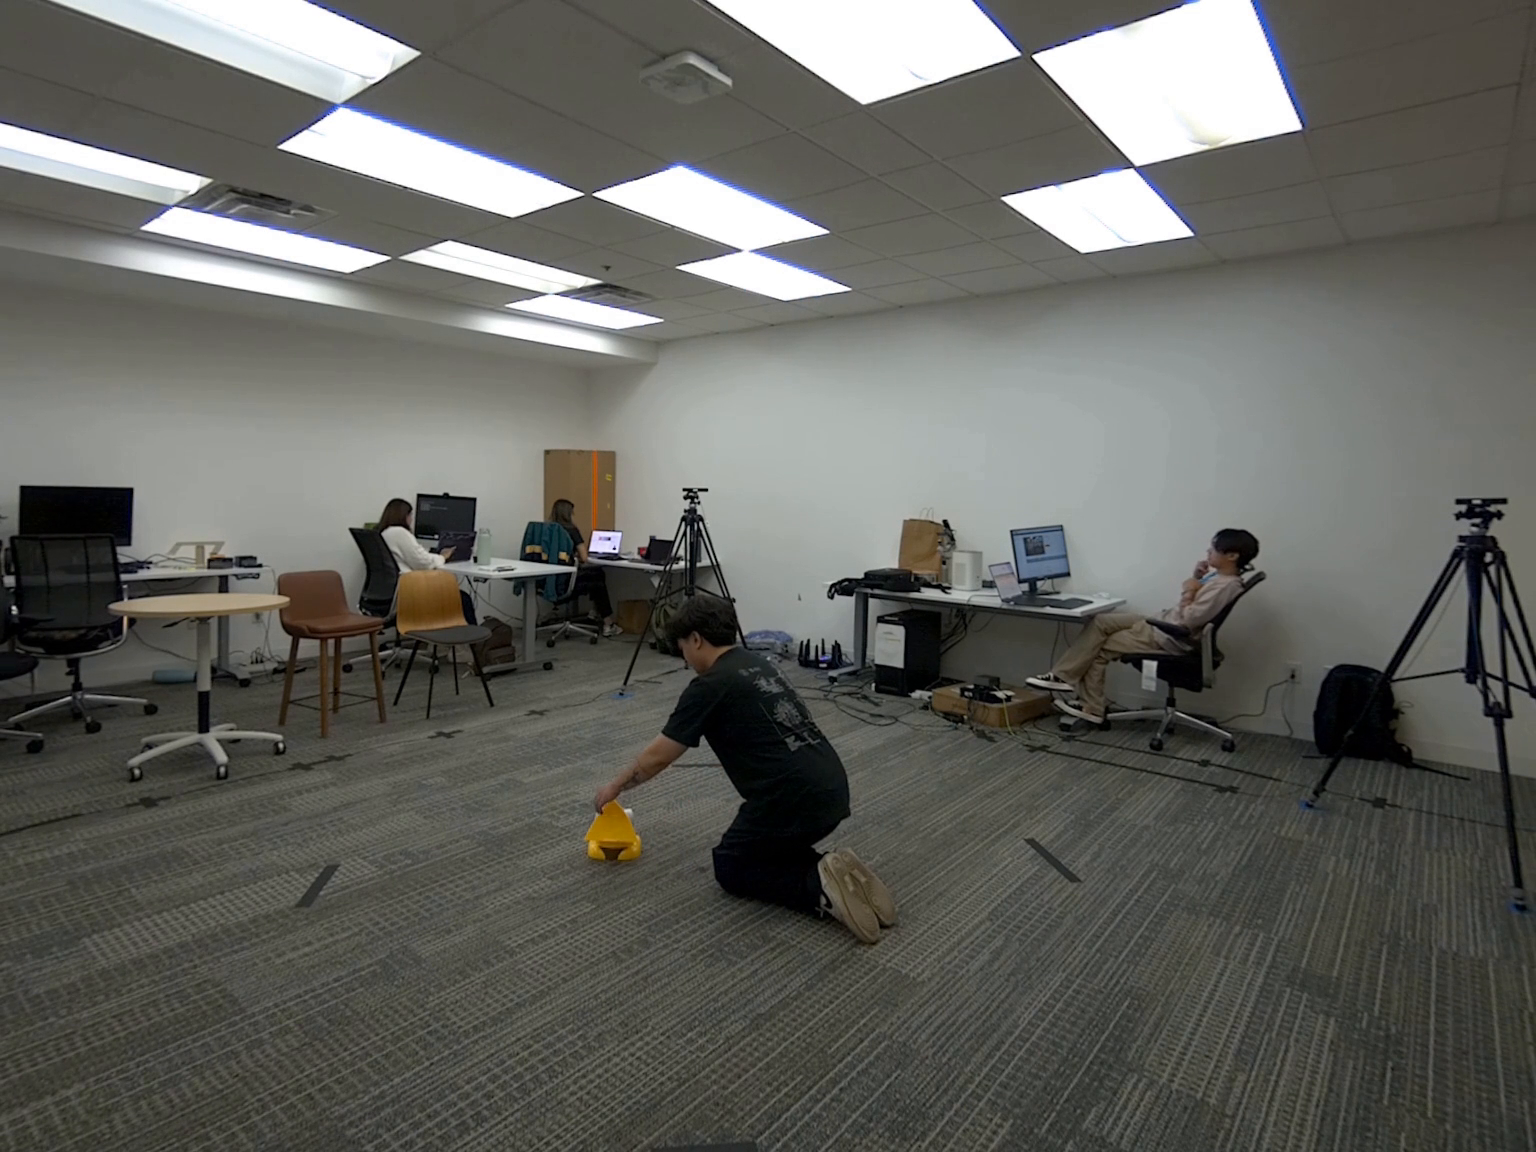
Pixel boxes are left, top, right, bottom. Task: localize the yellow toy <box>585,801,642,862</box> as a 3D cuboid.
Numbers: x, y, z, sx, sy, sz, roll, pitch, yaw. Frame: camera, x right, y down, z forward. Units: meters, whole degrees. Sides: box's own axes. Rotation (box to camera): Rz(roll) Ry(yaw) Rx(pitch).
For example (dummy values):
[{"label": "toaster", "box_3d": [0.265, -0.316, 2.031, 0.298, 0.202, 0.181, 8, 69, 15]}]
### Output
[{"label": "yellow toy", "box_3d": [-0.596, 0.937, 3.239, 0.205, 0.229, 0.193, 1, 6, 2]}]
